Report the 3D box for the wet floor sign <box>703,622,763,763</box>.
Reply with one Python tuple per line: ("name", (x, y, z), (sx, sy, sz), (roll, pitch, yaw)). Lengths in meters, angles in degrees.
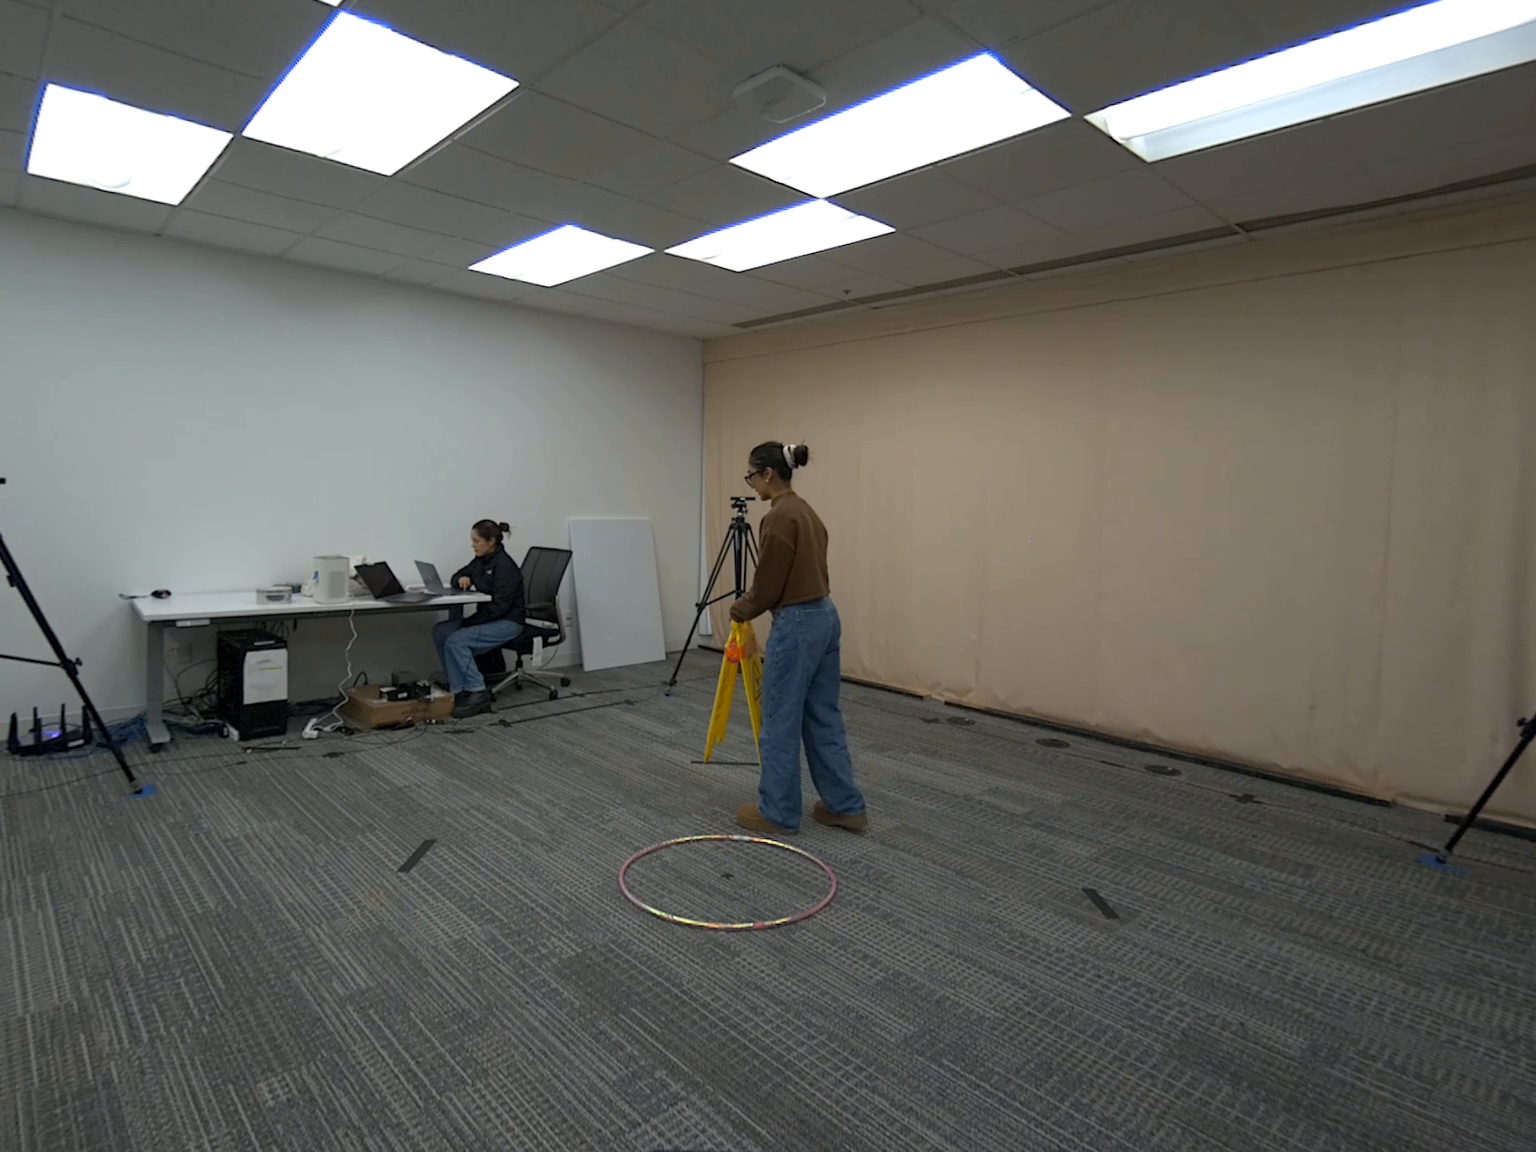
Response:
("wet floor sign", (-0.129, 0.474, 3.699), (0.293, 0.642, 0.280), (2, 8, 16))
